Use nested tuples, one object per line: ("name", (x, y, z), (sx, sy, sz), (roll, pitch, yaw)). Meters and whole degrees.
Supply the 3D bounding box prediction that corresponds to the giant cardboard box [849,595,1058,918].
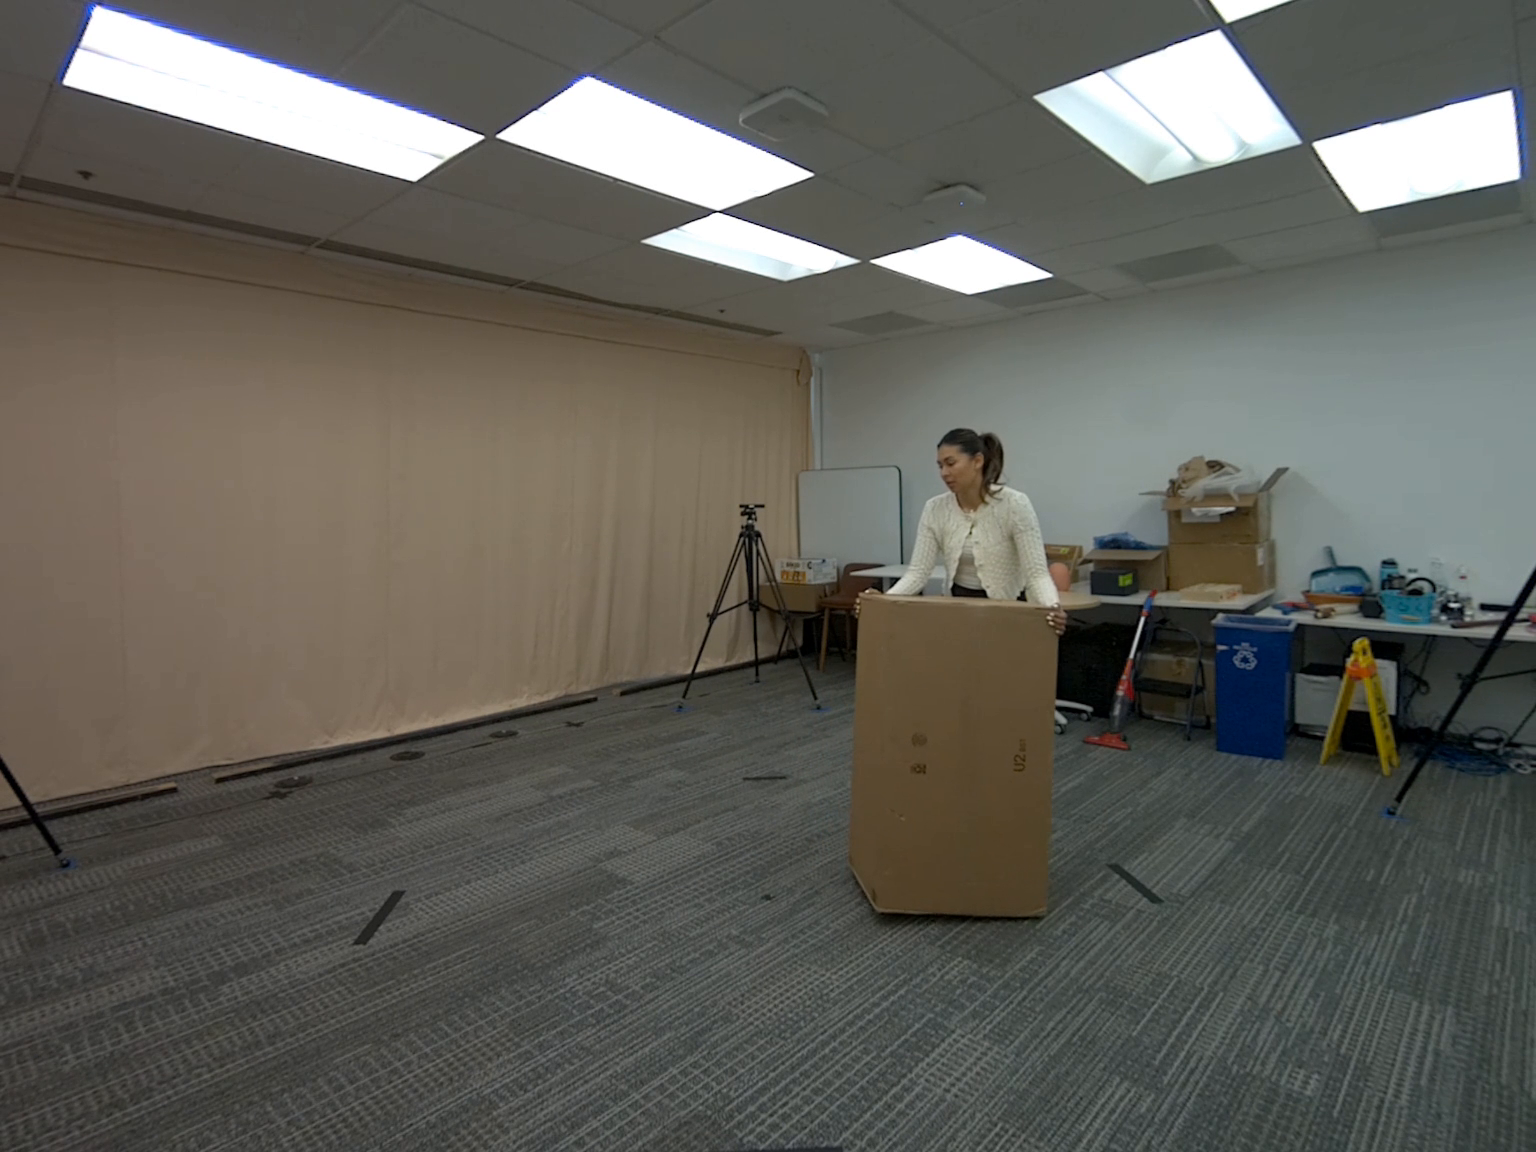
("giant cardboard box", (0.634, 0.603, 2.976), (0.574, 1.025, 0.429), (3, 0, -6))
